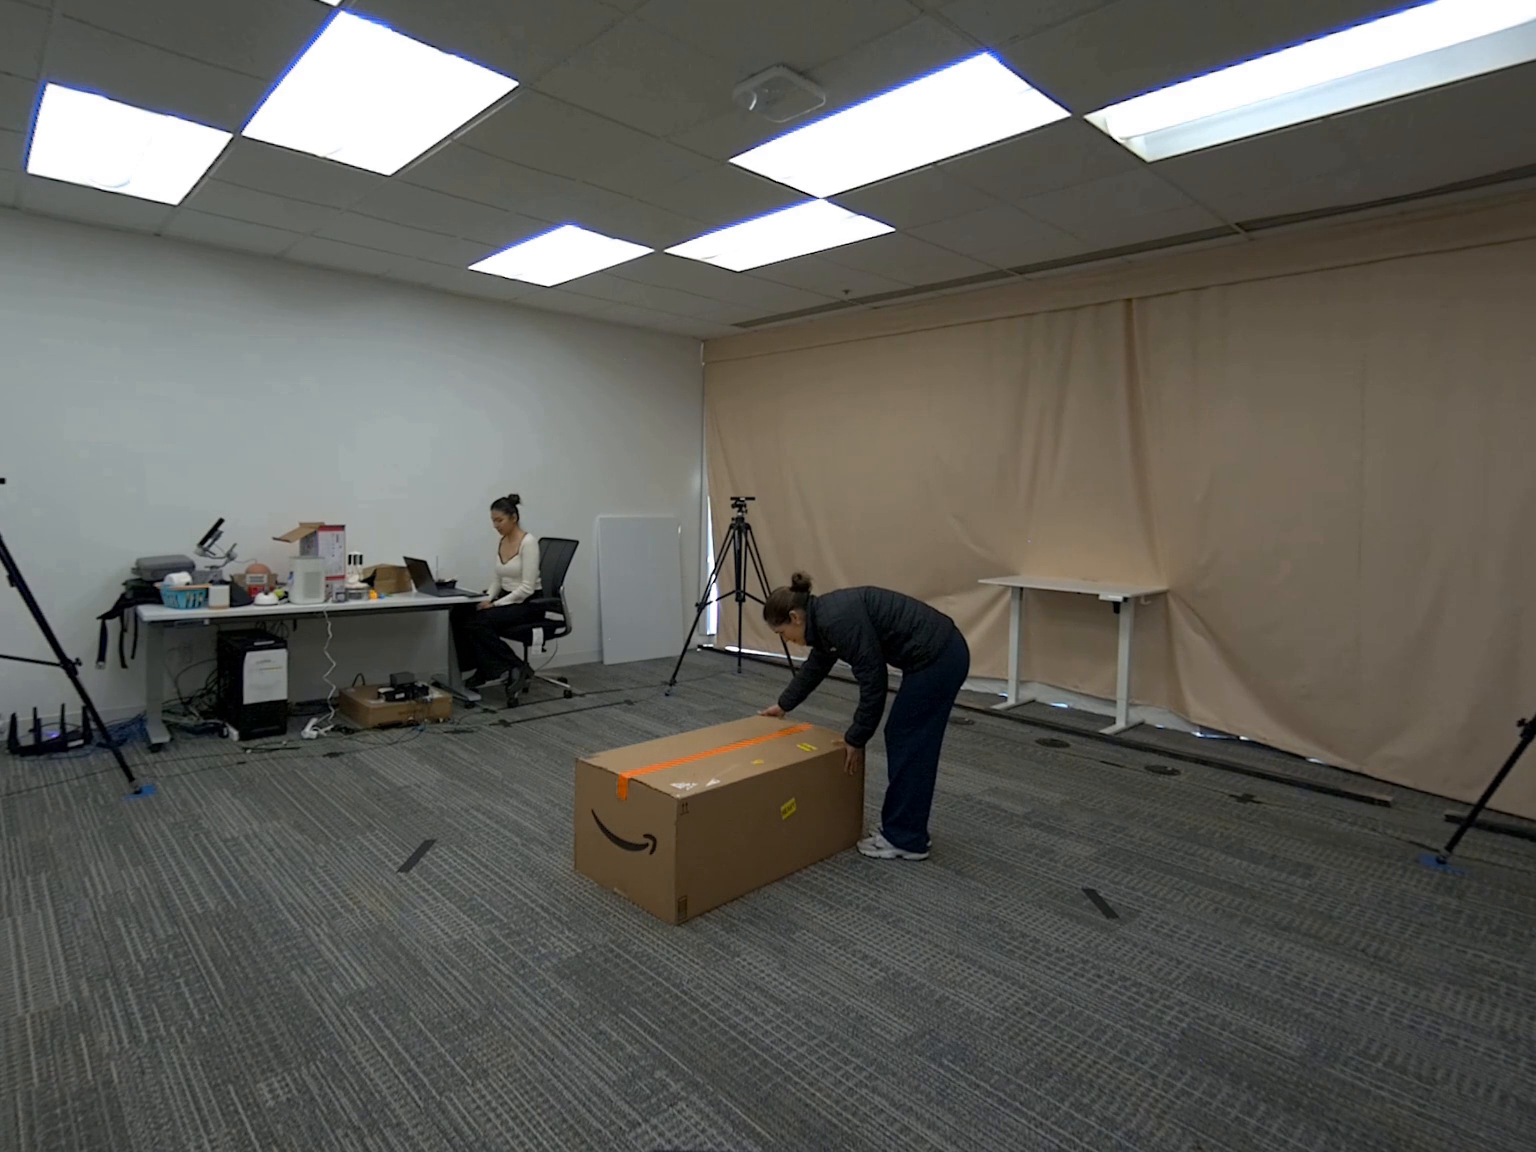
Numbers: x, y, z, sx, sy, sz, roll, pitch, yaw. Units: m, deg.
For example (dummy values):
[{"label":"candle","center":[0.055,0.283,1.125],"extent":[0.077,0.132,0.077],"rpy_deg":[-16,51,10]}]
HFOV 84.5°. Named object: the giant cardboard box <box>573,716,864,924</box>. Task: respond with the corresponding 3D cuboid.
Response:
[{"label":"giant cardboard box","center":[-0.167,0.880,3.259],"extent":[0.592,0.425,1.002],"rpy_deg":[6,7,43]}]
